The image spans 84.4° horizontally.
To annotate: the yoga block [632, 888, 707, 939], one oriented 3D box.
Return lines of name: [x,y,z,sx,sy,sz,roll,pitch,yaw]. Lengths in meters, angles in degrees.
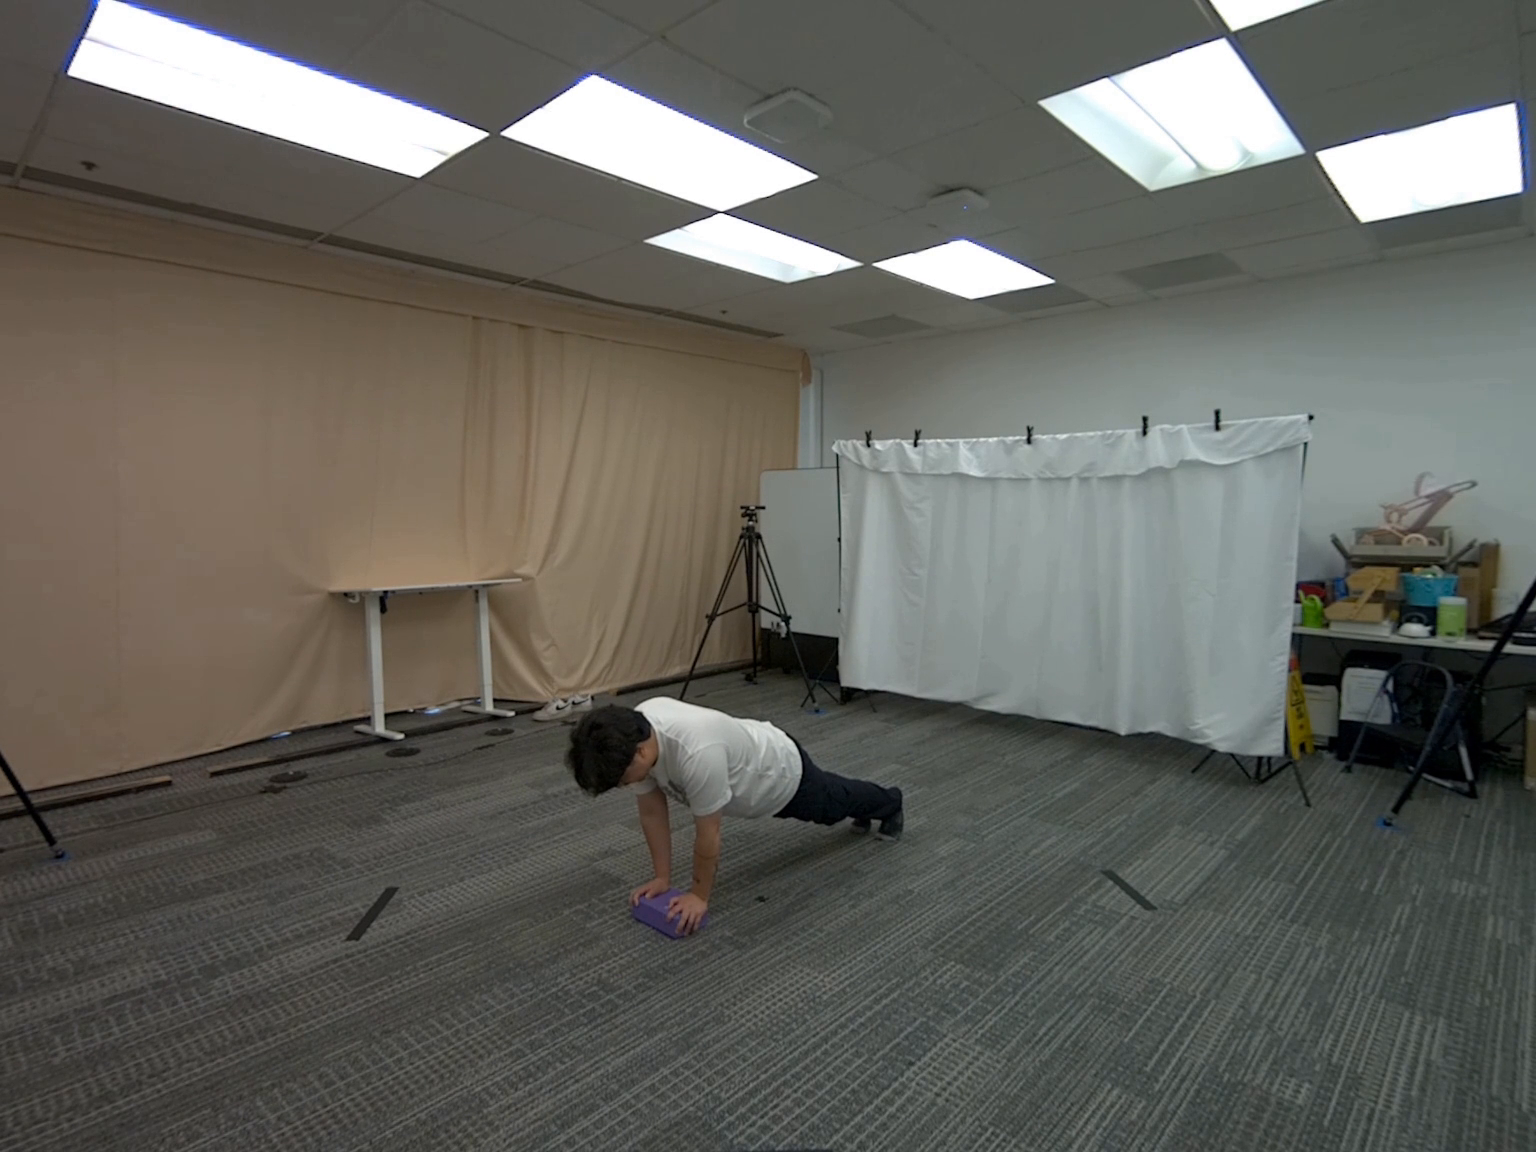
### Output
yoga block: [-0.329,1.126,2.823,0.237,0.076,0.144,4,7,42]
